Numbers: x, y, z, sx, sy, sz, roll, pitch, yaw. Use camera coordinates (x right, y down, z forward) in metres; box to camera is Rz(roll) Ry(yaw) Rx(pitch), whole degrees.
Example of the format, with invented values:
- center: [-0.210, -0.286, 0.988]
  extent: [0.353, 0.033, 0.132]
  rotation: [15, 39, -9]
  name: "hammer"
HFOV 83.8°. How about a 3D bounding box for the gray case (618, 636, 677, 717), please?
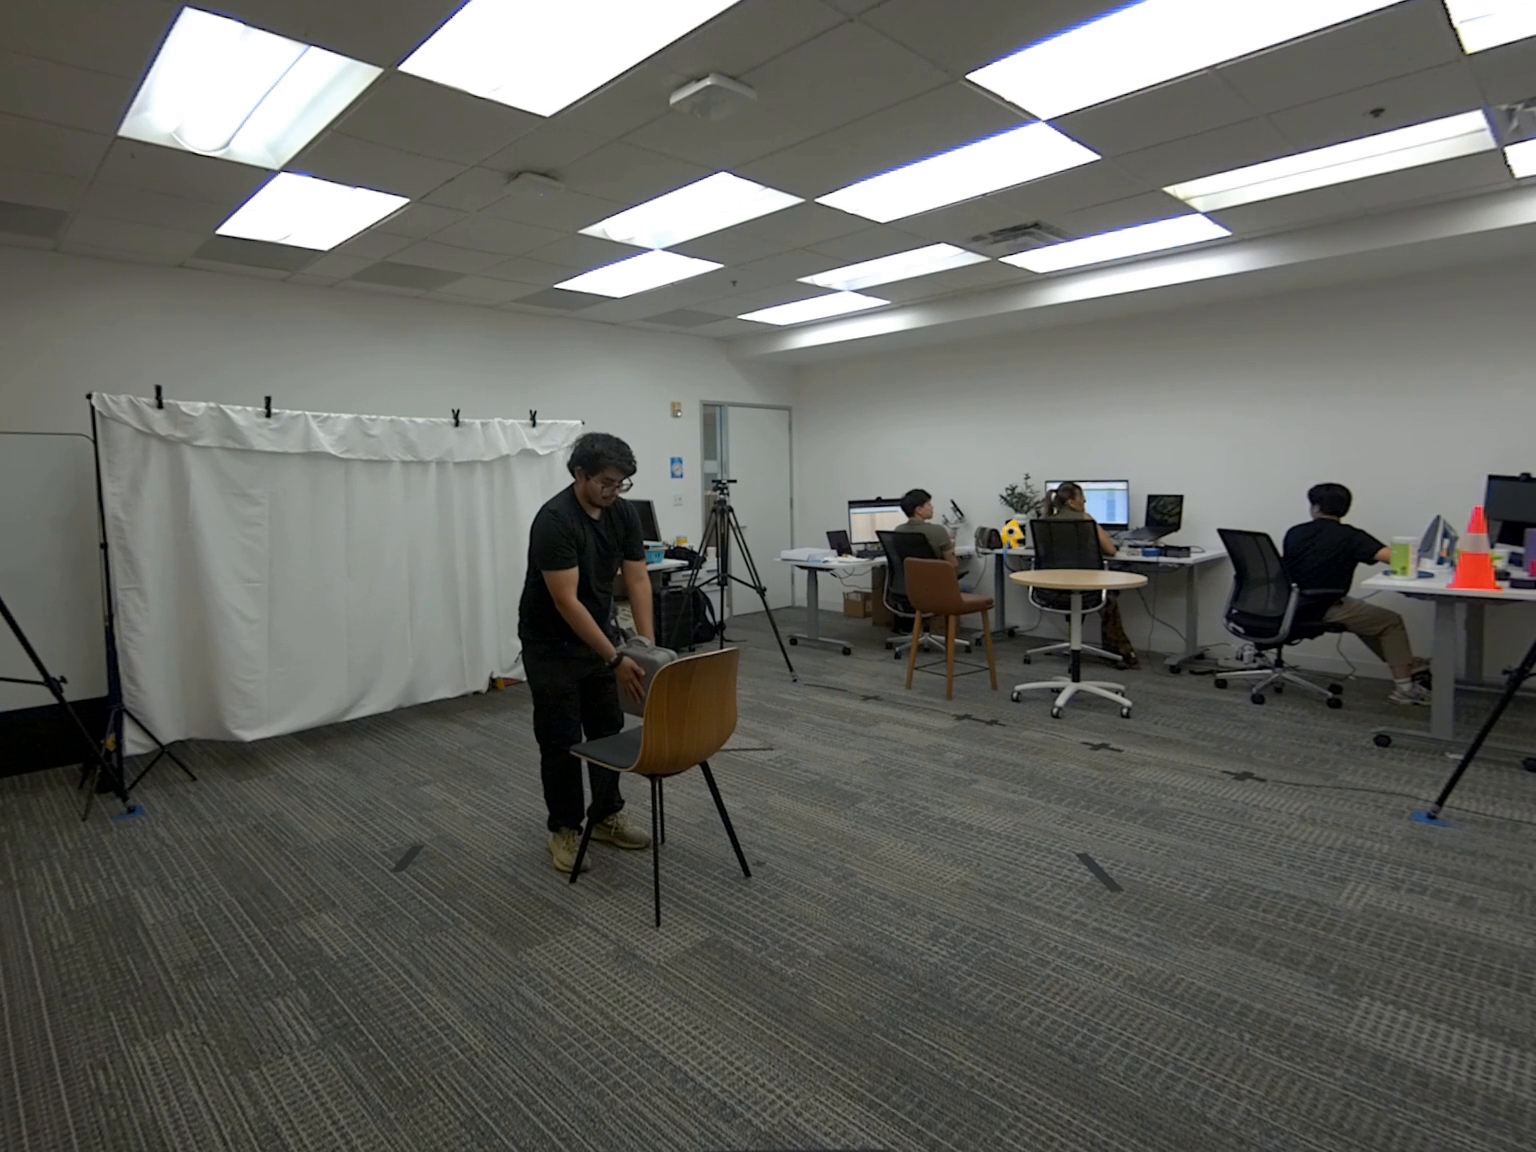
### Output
- center: [-0.425, 0.372, 3.004]
  extent: [0.265, 0.257, 0.103]
  rotation: [4, 20, 41]
  name: "gray case"
